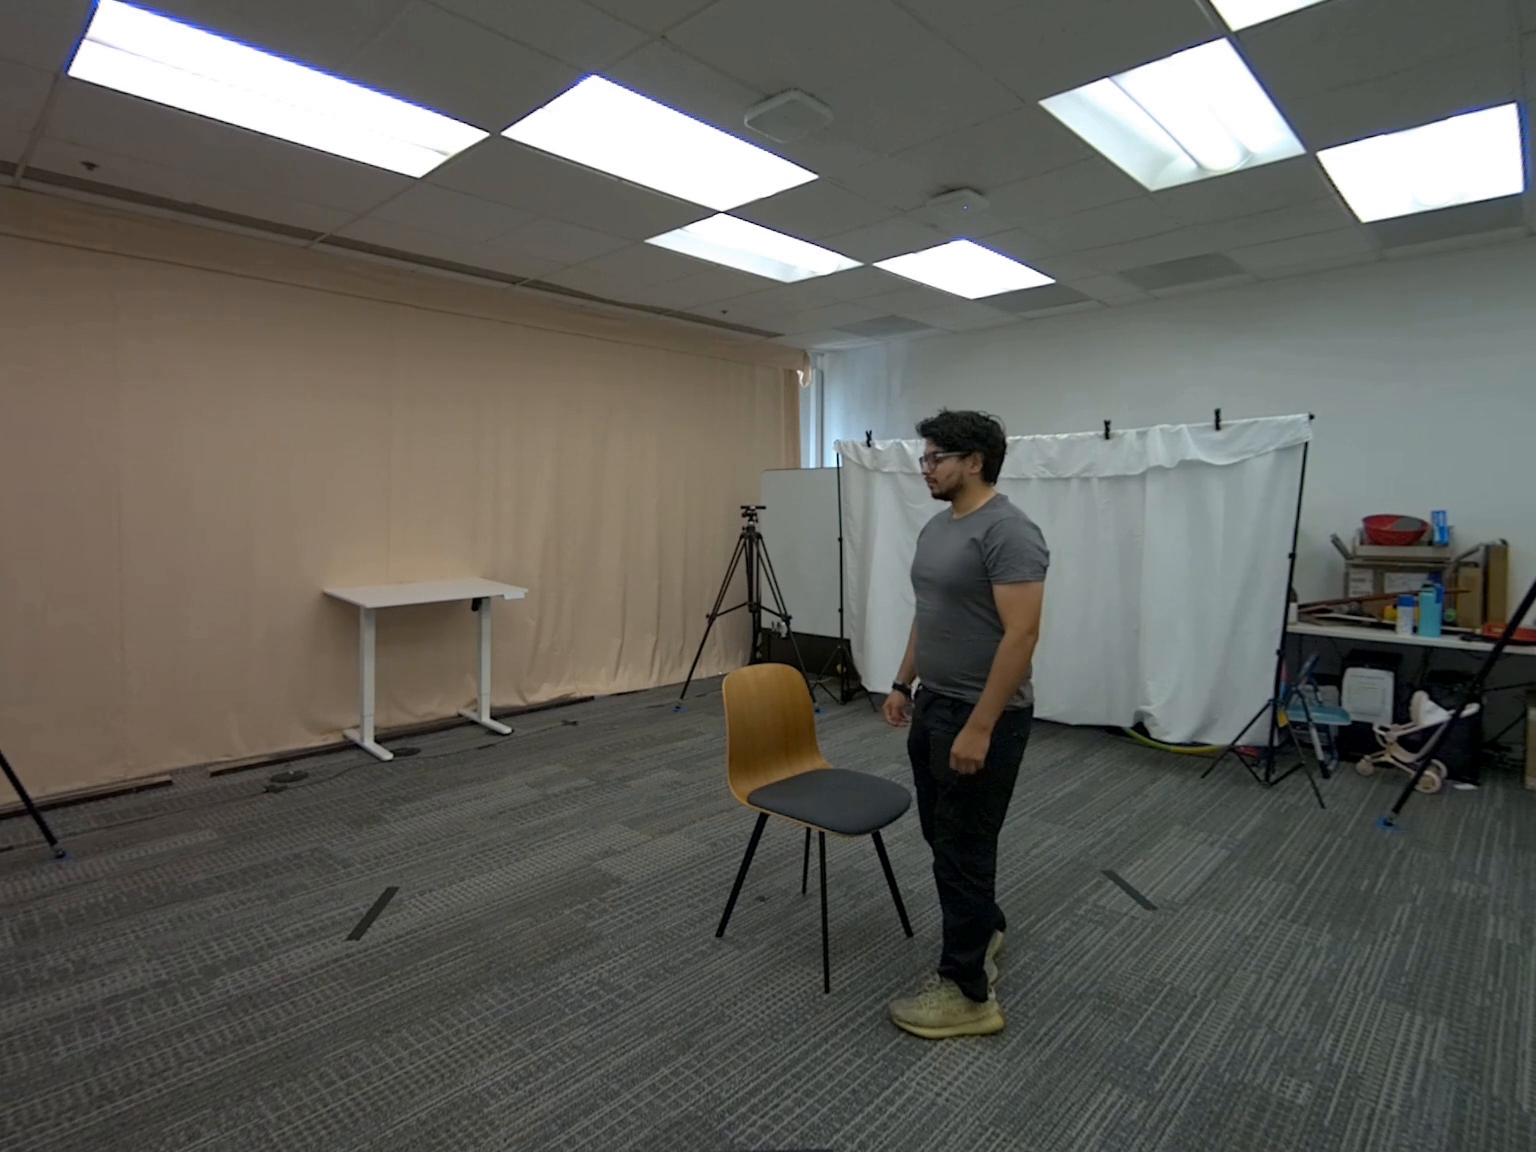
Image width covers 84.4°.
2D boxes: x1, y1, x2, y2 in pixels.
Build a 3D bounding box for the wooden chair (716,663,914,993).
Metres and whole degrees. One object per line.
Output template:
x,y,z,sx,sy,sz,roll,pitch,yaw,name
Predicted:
0.158,0.743,2.686,0.539,0.877,0.463,-3,1,43,wooden chair
